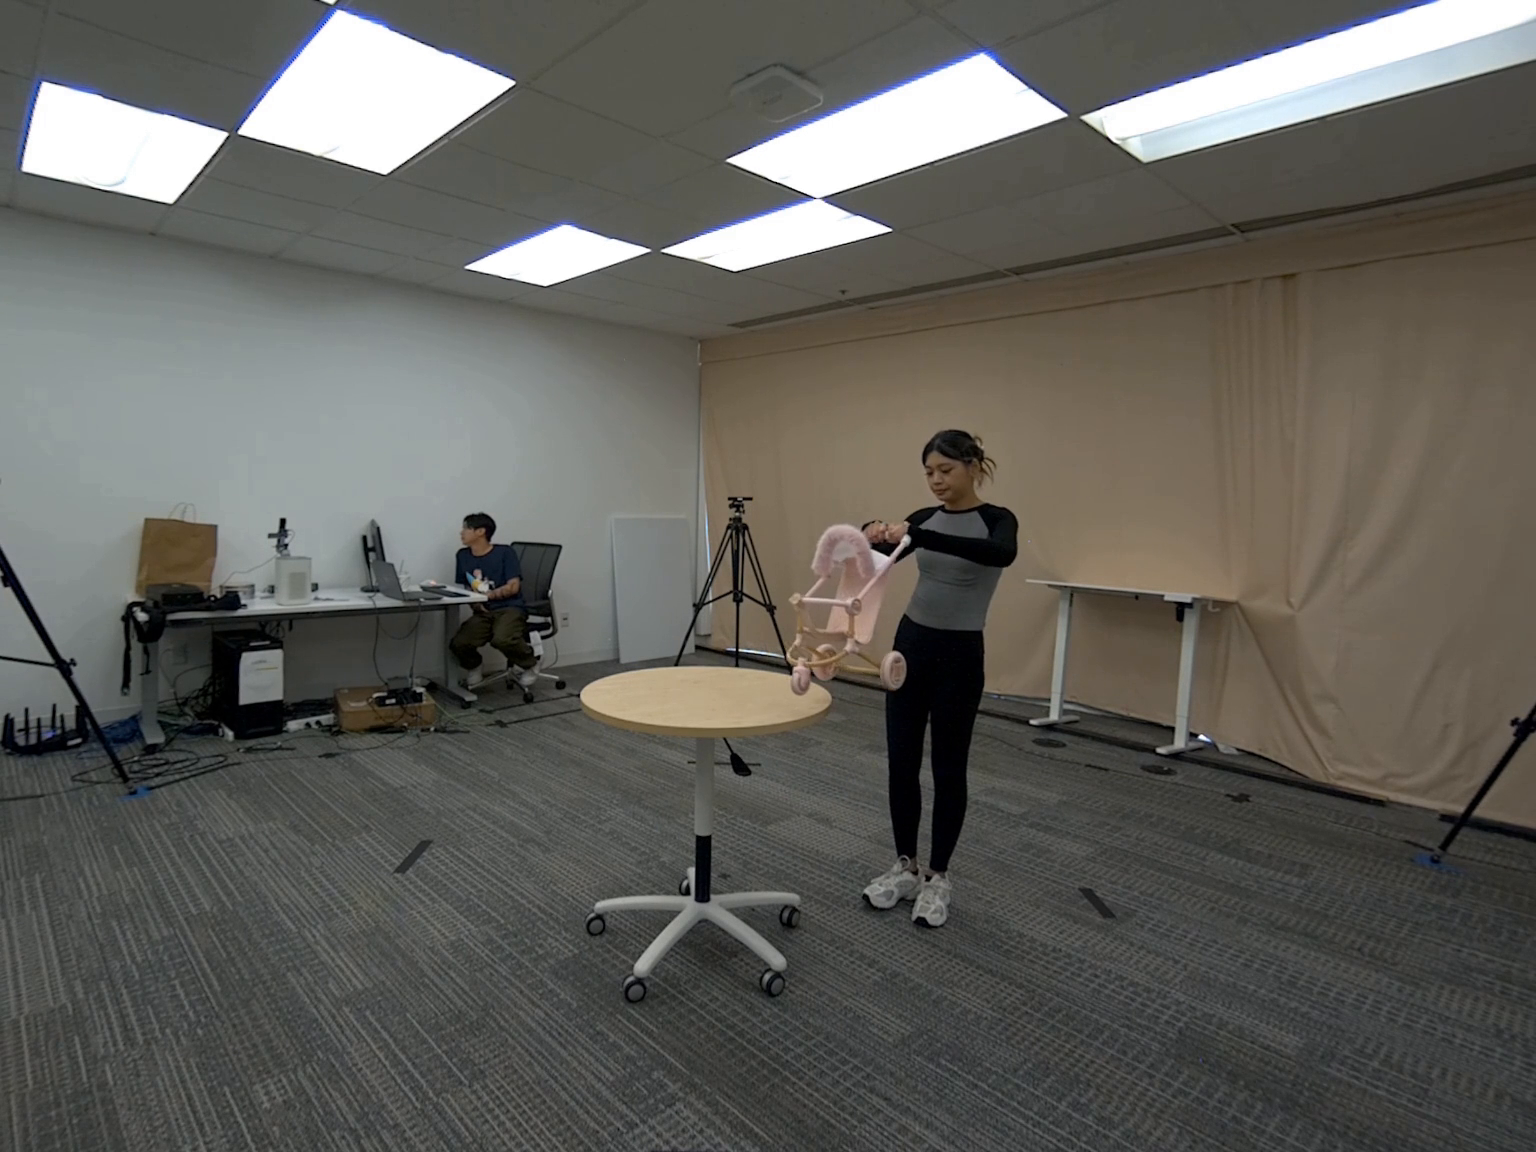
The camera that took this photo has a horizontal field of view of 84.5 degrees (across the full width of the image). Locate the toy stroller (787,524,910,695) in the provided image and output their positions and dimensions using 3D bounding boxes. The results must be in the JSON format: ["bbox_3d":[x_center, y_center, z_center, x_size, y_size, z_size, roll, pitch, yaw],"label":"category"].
[{"bbox_3d":[0.209,0.102,2.428,0.332,0.538,0.288,15,-11,-40],"label":"toy stroller"}]
